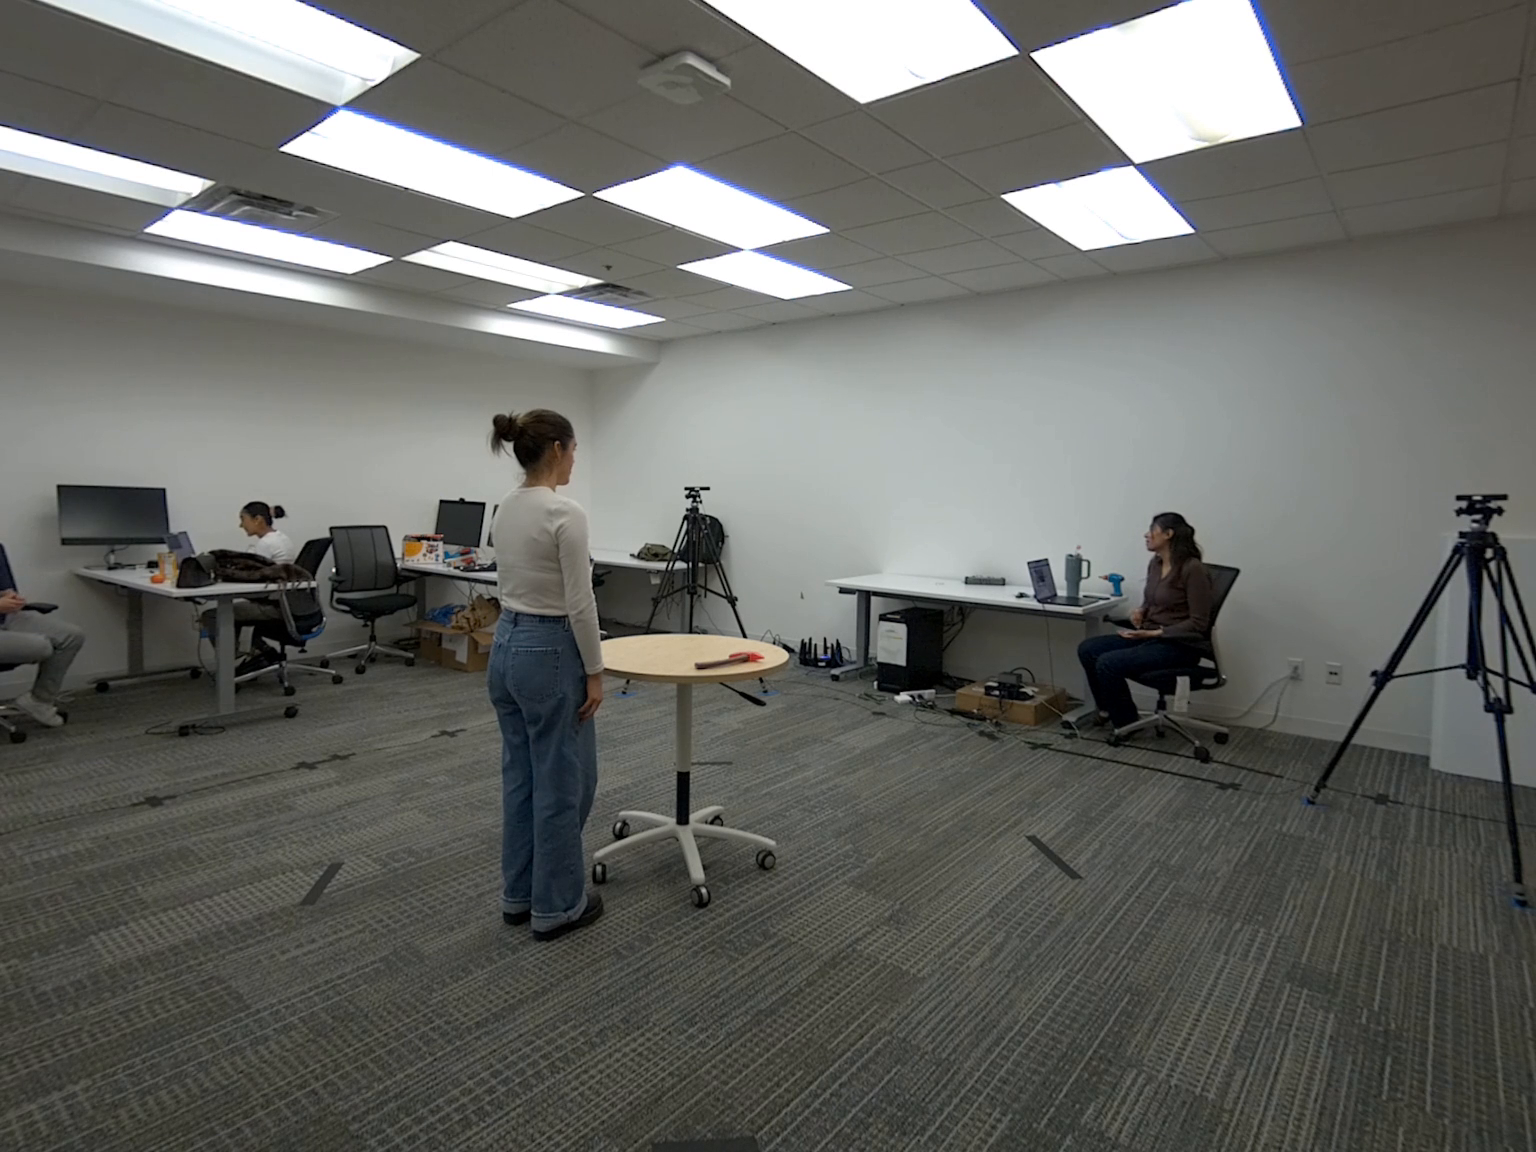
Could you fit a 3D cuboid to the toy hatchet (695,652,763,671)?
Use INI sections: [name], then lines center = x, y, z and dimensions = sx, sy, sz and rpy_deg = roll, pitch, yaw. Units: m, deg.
[toy hatchet]
center = -0.158, 0.292, 2.961
dimensions = 0.263, 0.029, 0.135
rpy_deg = -4, 6, -31
